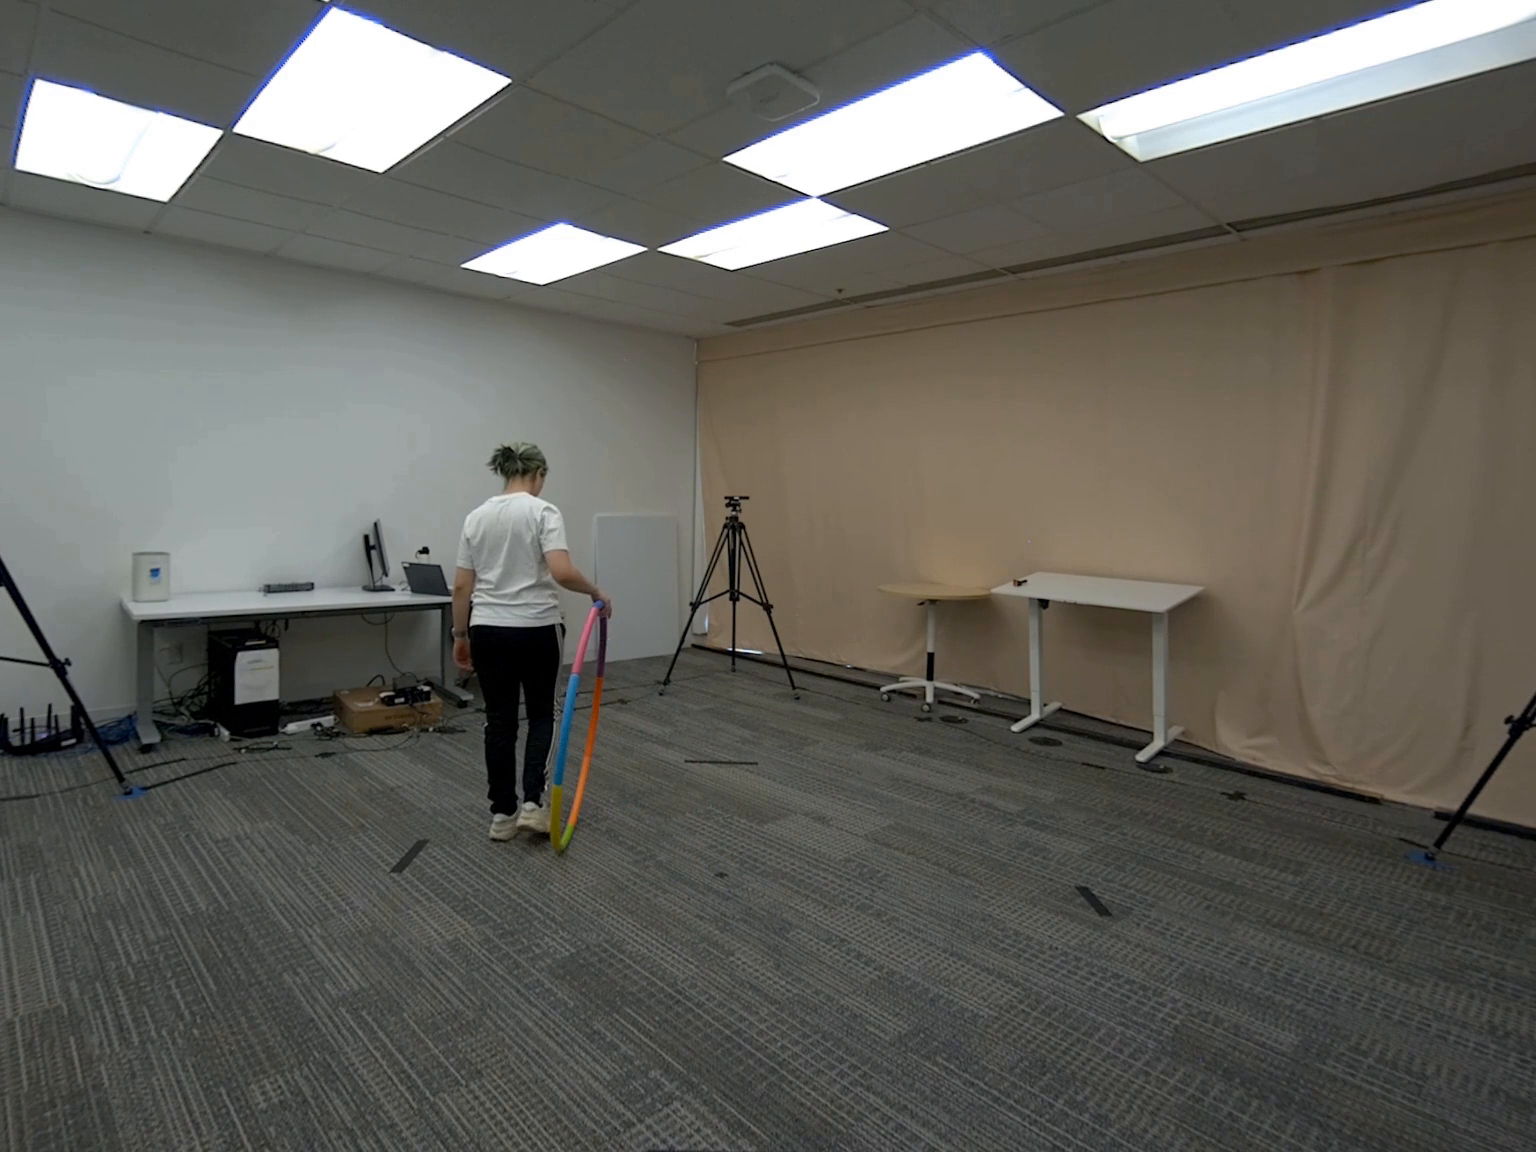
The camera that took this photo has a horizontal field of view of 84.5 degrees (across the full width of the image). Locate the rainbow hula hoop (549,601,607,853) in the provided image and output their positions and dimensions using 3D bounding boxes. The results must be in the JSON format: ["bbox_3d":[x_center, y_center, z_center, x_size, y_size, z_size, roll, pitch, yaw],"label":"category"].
[{"bbox_3d":[-0.749,0.584,3.347,0.035,0.976,0.984,9,4,-5],"label":"rainbow hula hoop"}]
